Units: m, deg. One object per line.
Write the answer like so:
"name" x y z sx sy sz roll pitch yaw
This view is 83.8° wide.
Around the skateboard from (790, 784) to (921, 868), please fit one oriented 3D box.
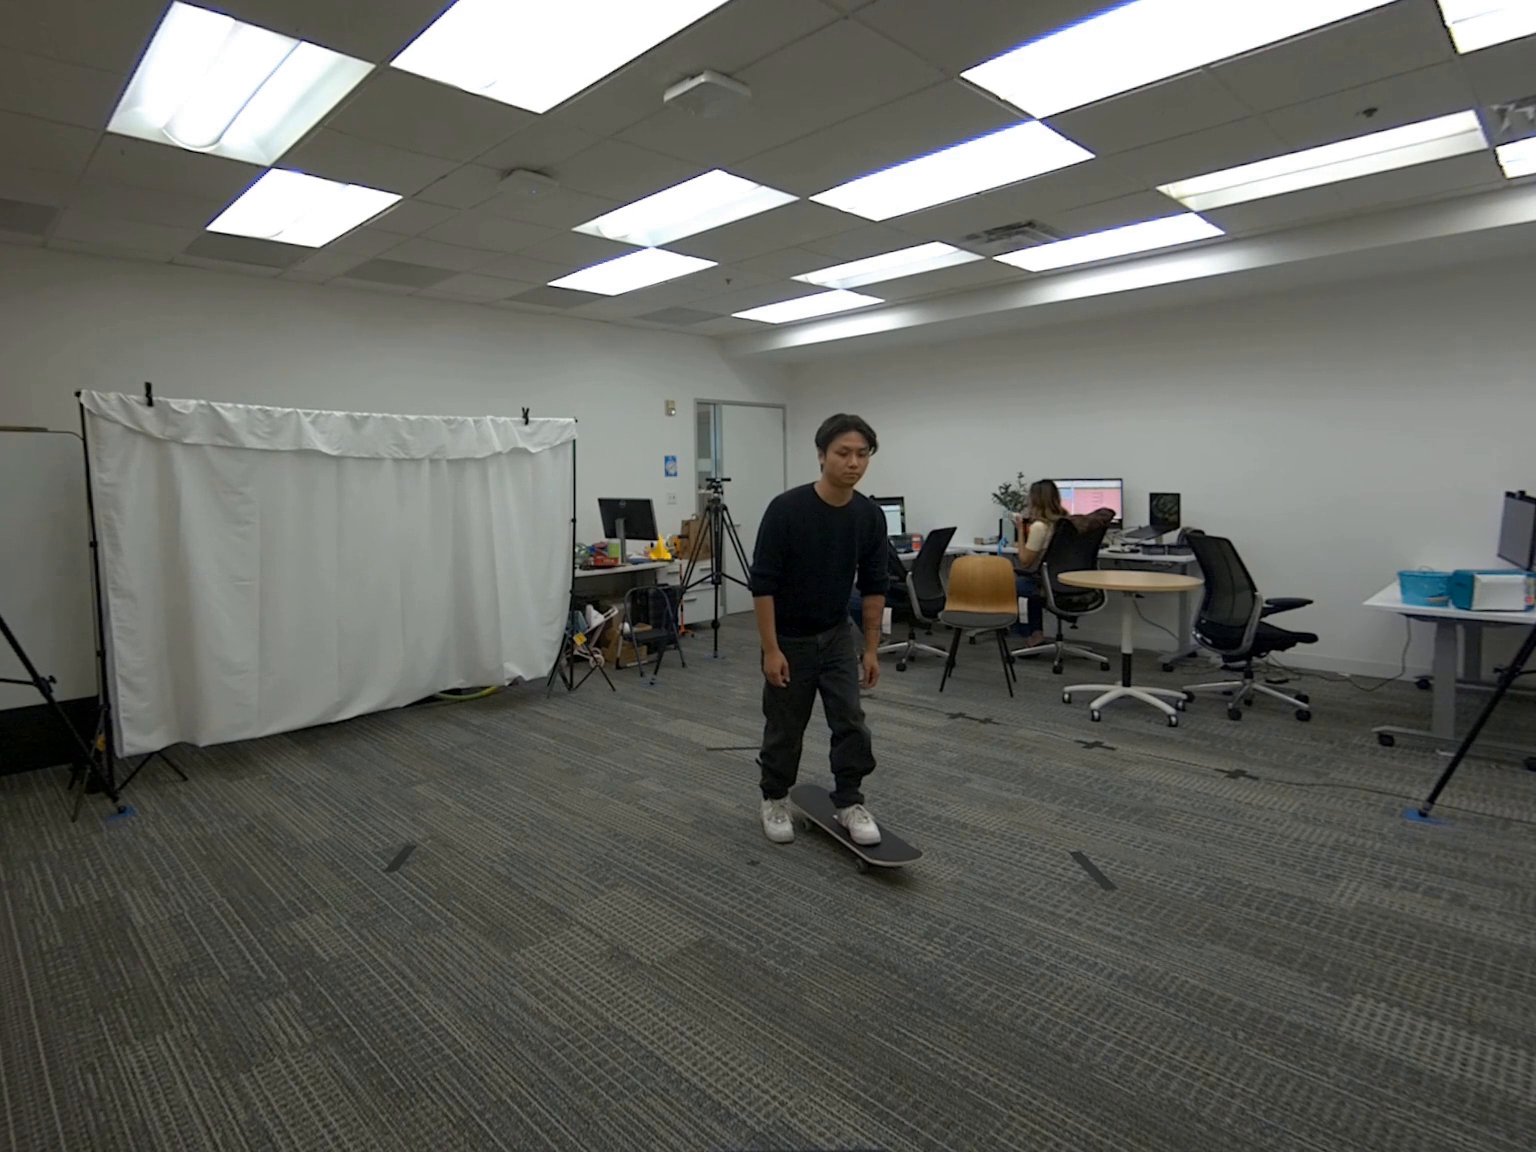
"skateboard" 0.314 0.966 3.226 0.189 0.110 0.805 -4 7 -25
